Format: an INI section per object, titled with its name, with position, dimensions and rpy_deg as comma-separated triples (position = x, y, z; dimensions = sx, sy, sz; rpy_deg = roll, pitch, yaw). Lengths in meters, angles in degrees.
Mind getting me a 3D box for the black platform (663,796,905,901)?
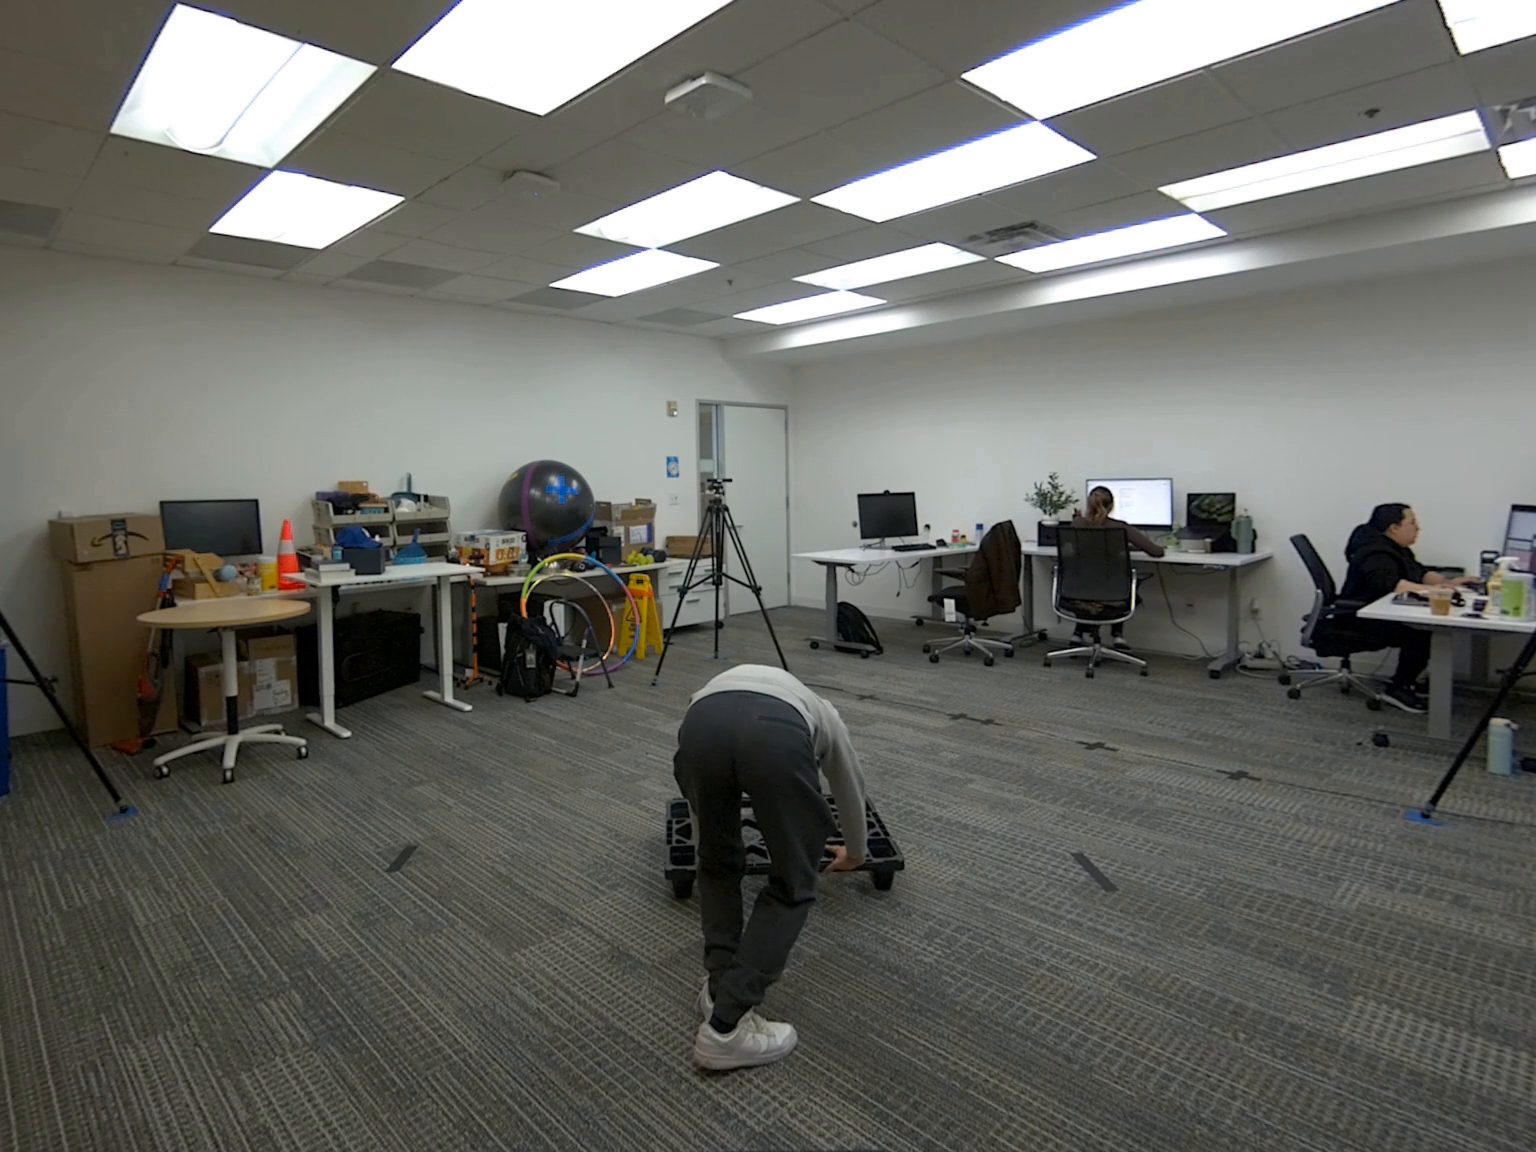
[black platform]
position = 0.031, 0.973, 3.102
dimensions = 0.803, 0.143, 0.610
rpy_deg = -1, 6, -4
